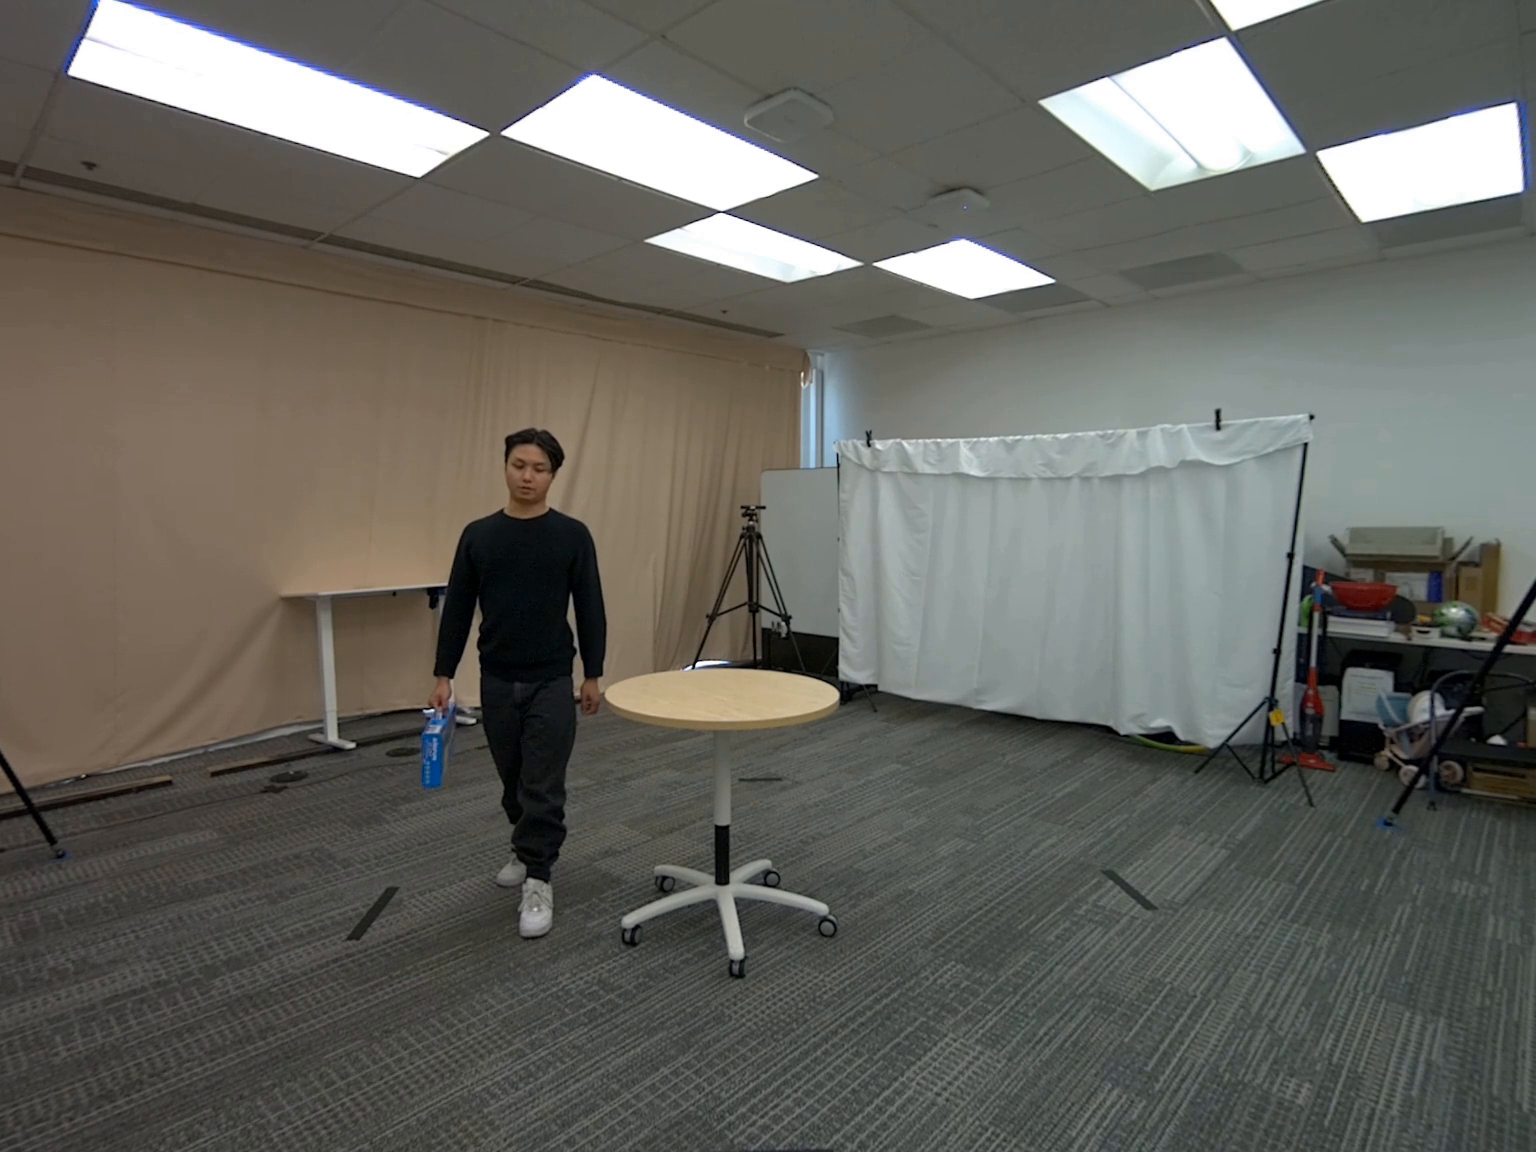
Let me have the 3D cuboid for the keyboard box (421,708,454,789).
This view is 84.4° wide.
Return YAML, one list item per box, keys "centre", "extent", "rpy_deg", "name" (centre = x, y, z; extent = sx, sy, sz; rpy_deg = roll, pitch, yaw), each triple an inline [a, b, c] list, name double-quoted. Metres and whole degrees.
- centre: [-1.108, 0.559, 2.873]
  extent: [0.058, 0.175, 0.445]
  rpy_deg: [-1, 6, -17]
  name: "keyboard box"
